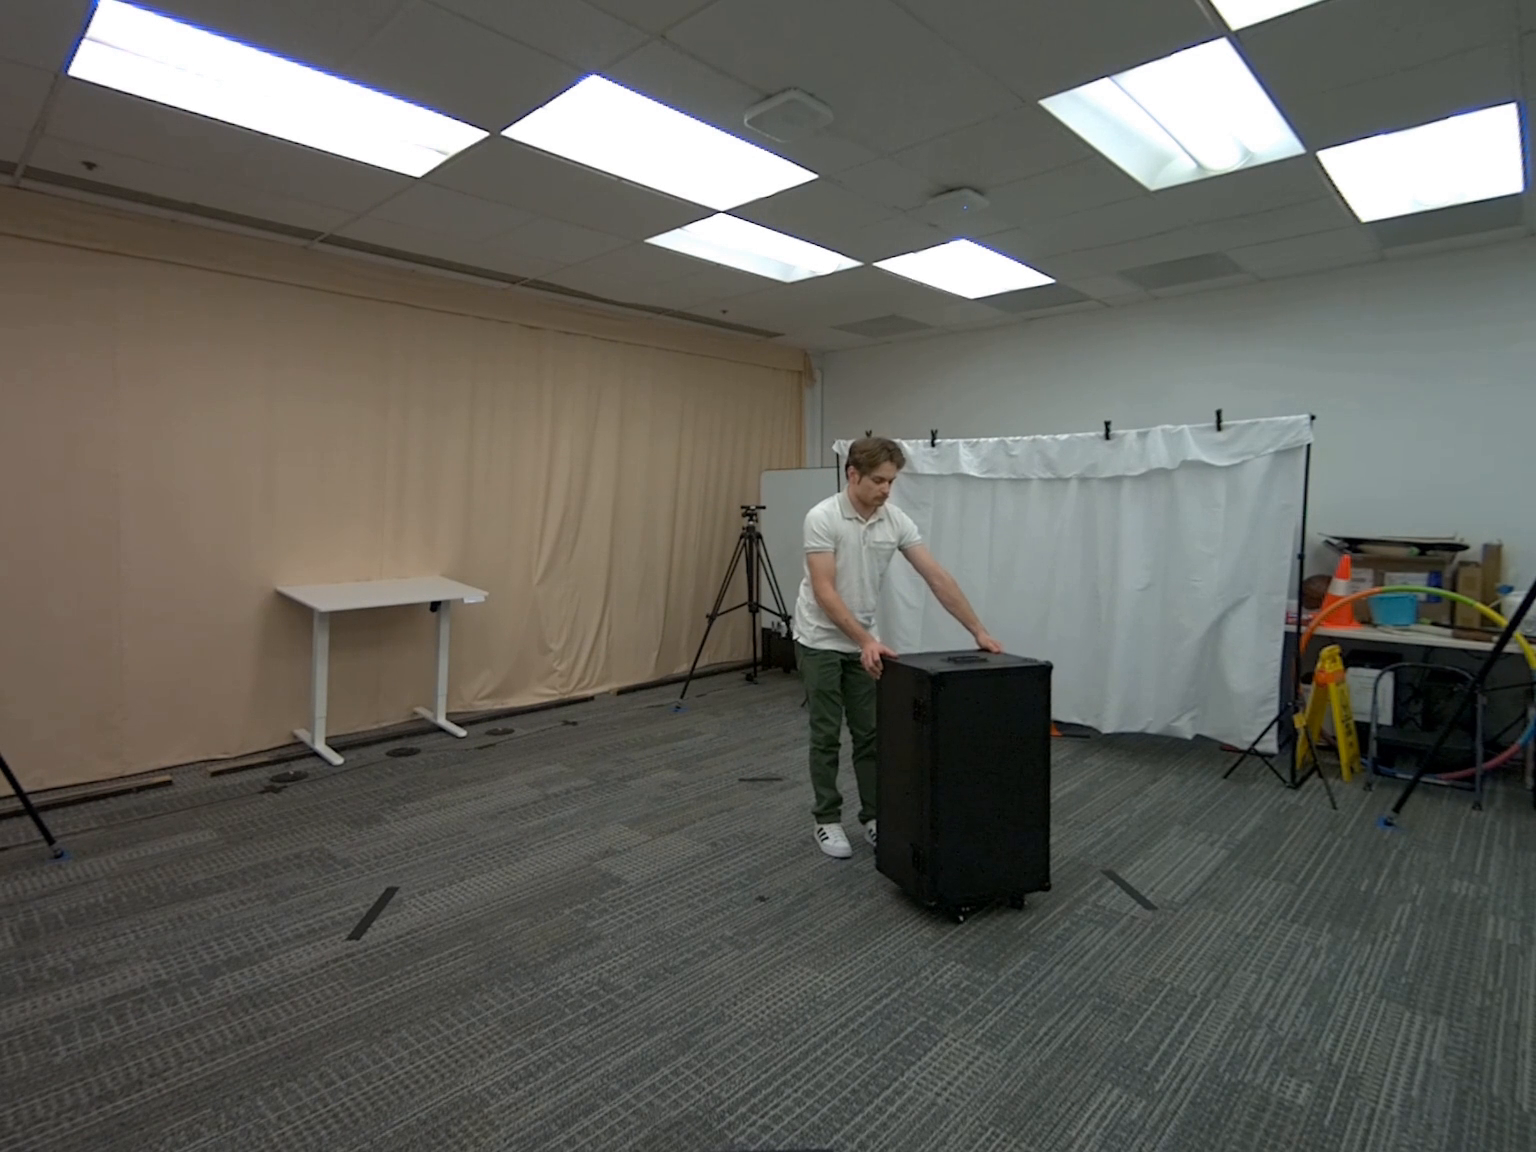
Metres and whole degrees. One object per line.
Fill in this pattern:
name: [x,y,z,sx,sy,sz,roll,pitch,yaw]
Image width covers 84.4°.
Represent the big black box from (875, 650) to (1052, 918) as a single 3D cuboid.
big black box: [0.679,0.718,2.970,0.511,0.860,0.405,-1,2,-21]
